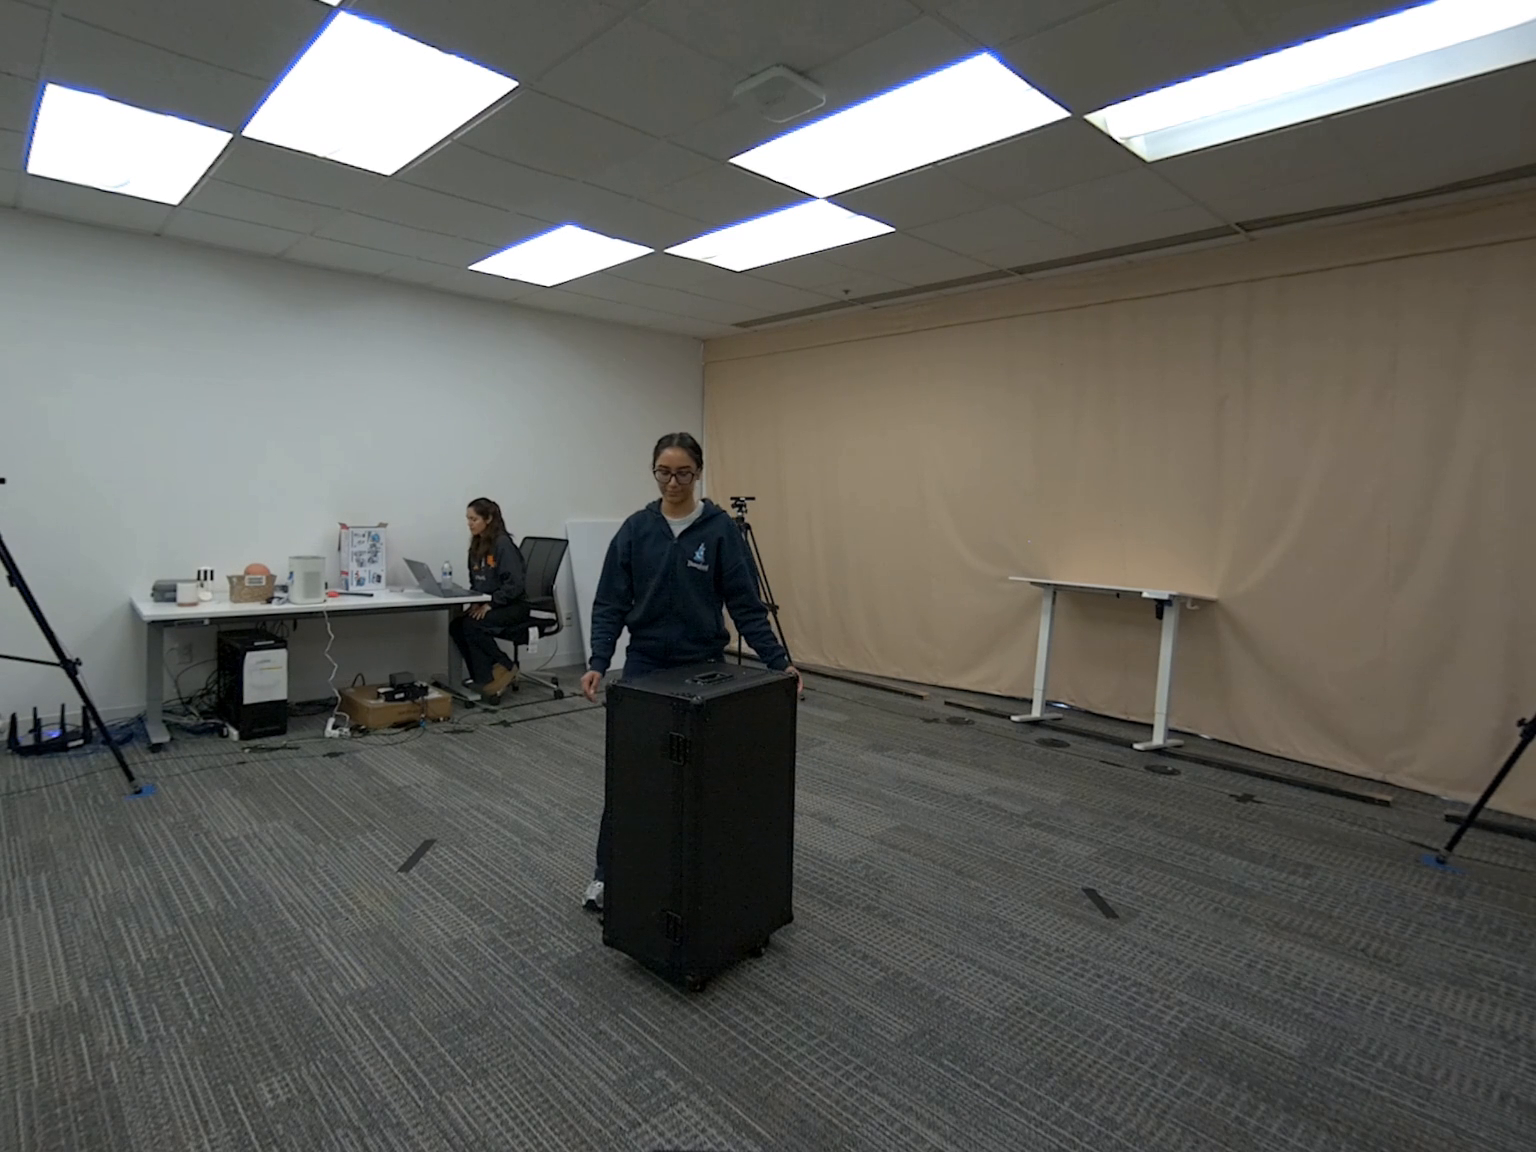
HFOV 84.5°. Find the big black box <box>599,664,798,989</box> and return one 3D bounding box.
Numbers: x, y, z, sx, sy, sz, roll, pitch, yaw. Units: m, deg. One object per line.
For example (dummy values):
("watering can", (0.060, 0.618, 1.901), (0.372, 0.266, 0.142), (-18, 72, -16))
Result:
("big black box", (-0.208, 0.730, 2.539), (0.405, 0.860, 0.510), (2, 4, 36))
